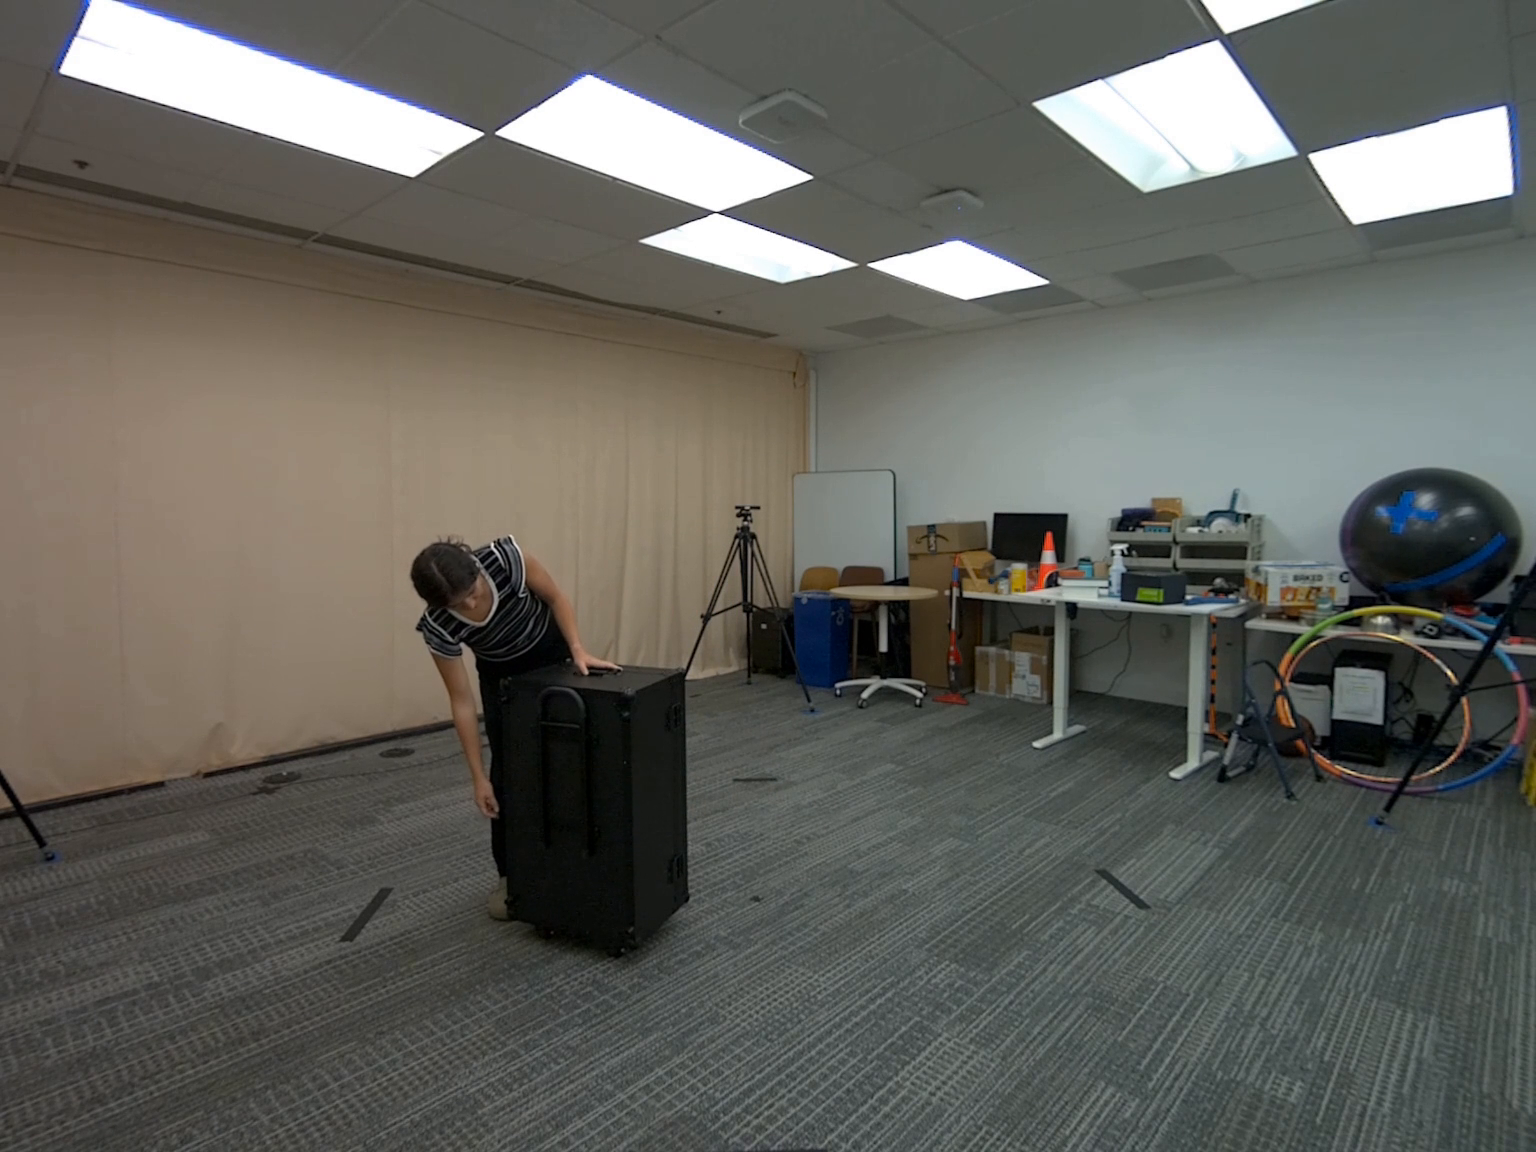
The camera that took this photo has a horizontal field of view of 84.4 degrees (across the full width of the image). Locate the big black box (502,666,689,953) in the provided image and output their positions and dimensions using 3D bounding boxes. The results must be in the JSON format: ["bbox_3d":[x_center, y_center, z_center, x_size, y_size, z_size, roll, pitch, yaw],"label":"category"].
[{"bbox_3d":[-0.550,0.749,2.734,0.534,0.859,0.387,0,5,25],"label":"big black box"}]
